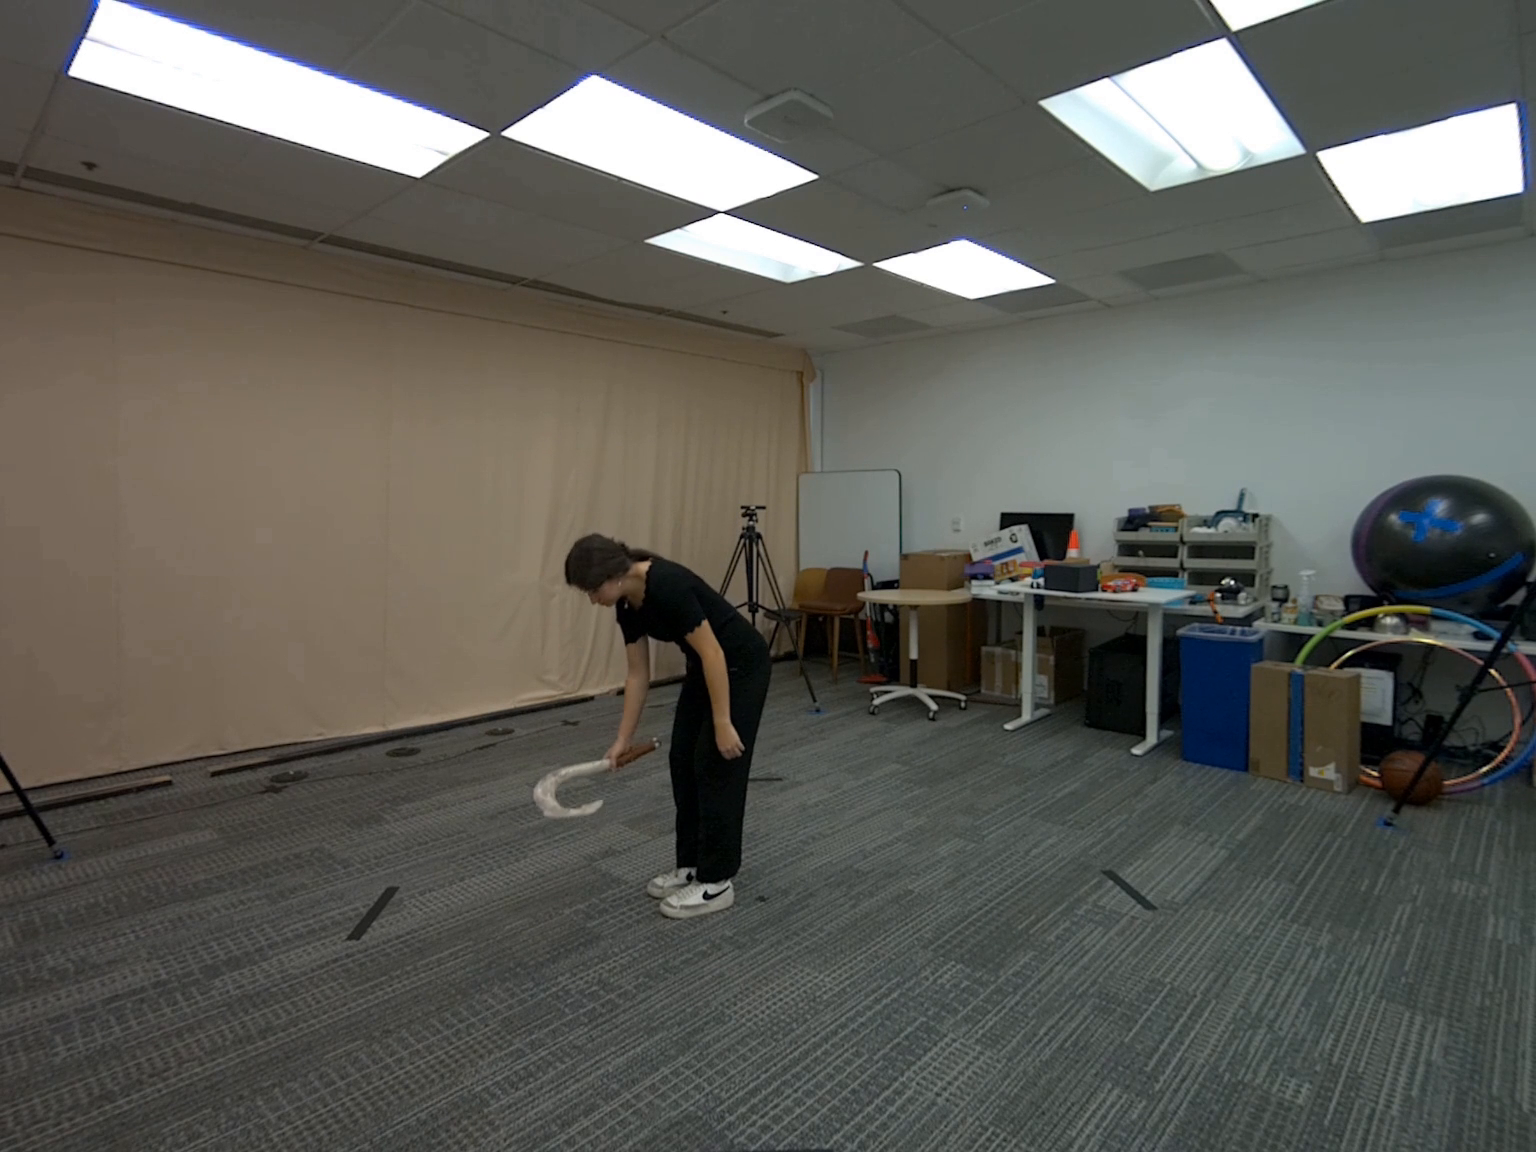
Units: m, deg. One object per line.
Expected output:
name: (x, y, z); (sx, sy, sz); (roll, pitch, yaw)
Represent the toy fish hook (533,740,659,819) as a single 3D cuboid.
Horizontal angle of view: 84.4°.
toy fish hook: (-0.564, 0.711, 2.929); (0.495, 0.047, 0.233); (-19, 44, -32)
